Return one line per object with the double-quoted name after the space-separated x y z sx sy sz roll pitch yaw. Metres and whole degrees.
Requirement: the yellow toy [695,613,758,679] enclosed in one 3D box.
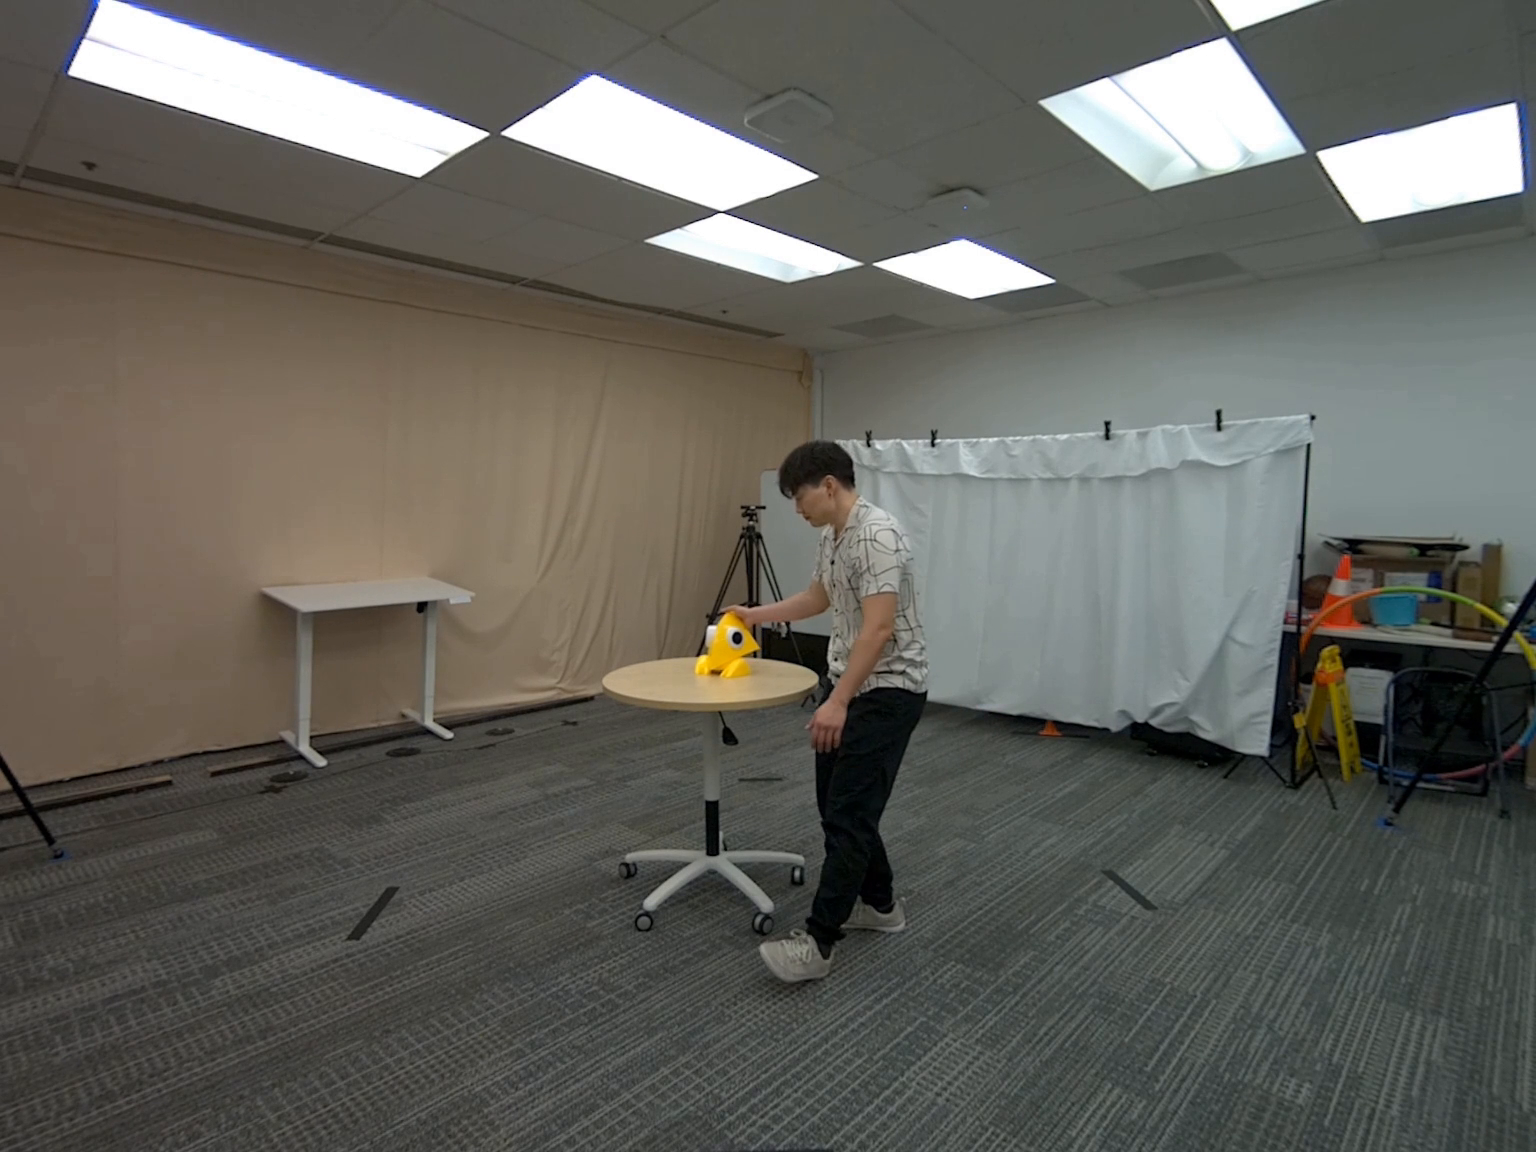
-0.161 0.240 3.078 0.210 0.230 0.188 1 4 28 "yellow toy"
